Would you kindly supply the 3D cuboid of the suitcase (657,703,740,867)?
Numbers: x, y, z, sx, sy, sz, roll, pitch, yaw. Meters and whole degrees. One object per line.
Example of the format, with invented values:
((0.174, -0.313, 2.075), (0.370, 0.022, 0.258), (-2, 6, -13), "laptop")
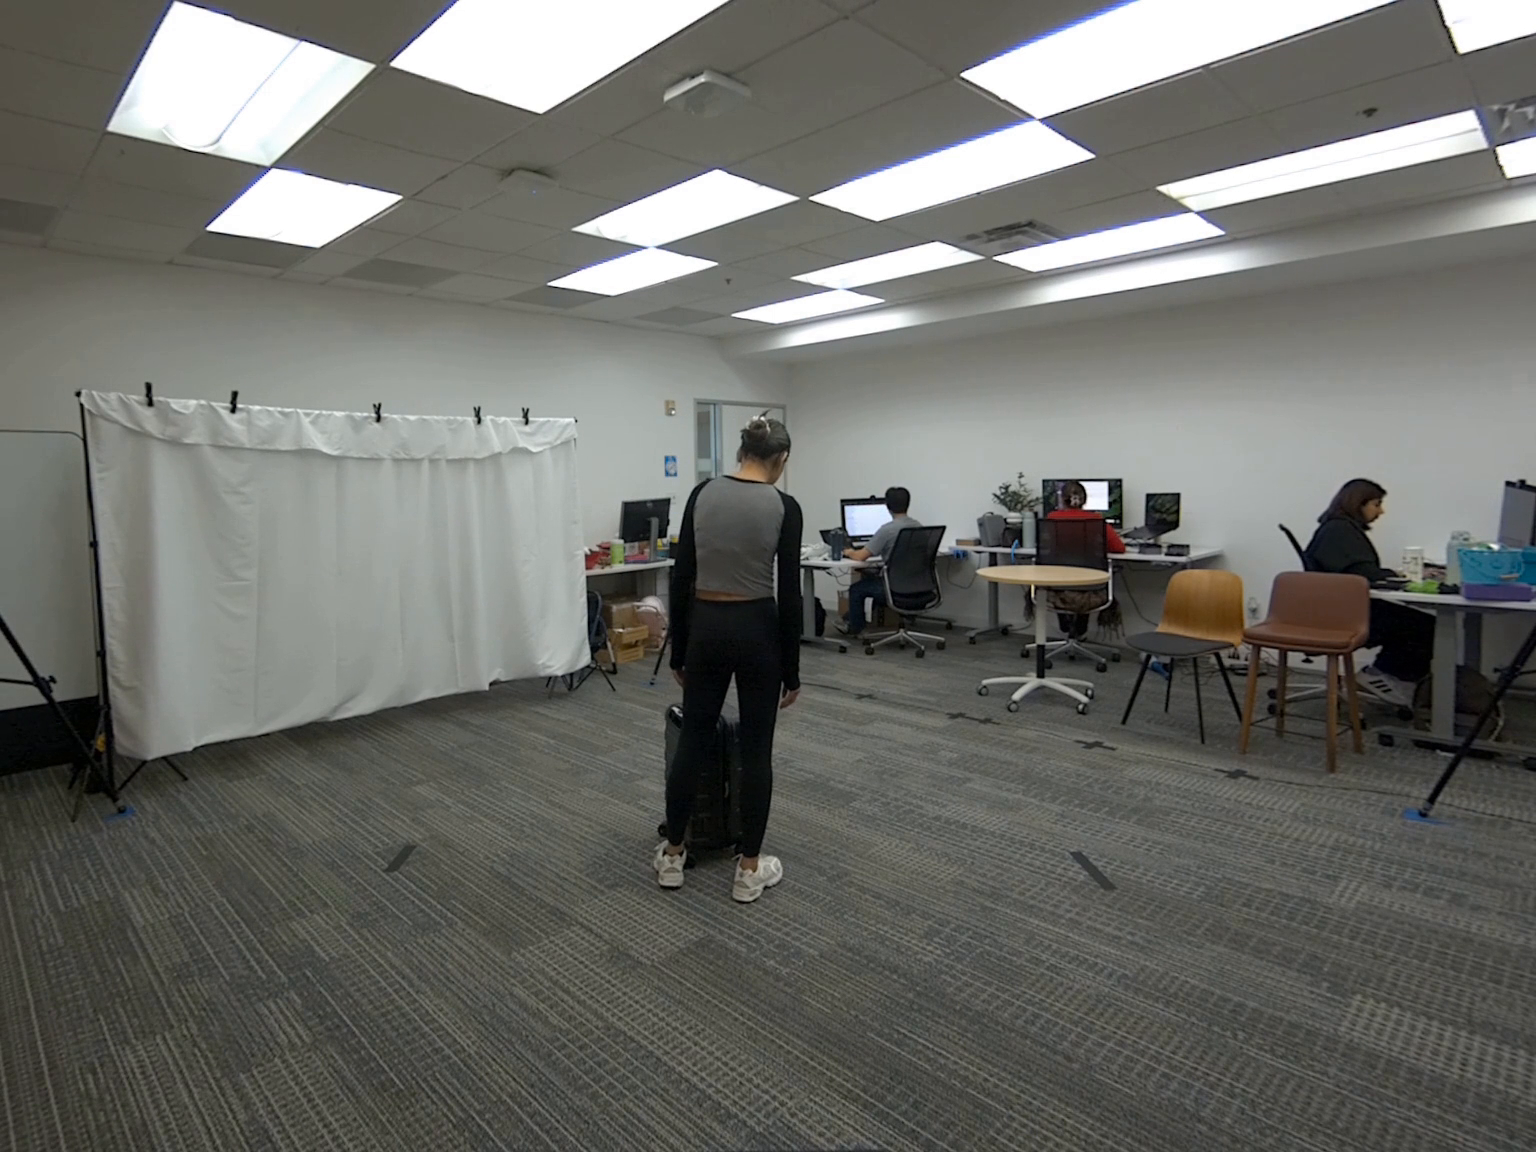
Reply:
((-0.230, 0.750, 3.240), (0.244, 0.547, 0.384), (-2, 4, -22), "suitcase")
